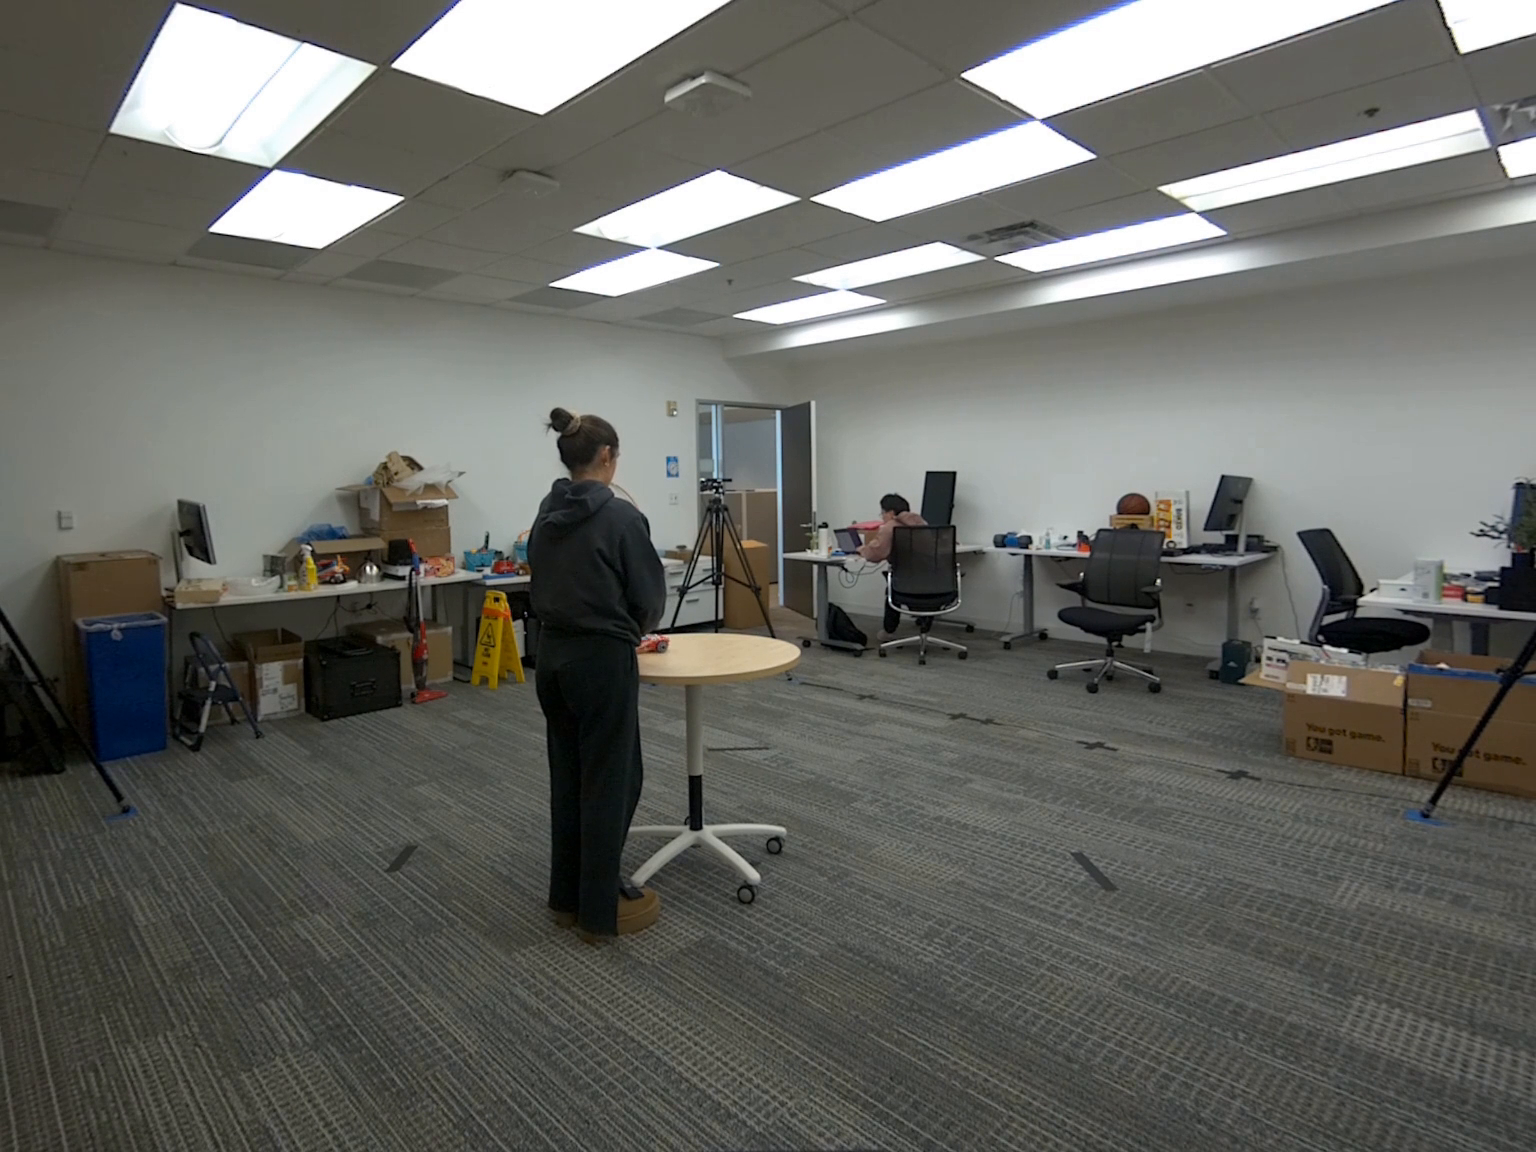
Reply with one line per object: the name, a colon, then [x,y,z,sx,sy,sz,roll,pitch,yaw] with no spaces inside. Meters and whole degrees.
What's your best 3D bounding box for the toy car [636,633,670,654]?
toy car: [-0.484,0.246,3.045,0.248,0.083,0.133,8,0,-25]
